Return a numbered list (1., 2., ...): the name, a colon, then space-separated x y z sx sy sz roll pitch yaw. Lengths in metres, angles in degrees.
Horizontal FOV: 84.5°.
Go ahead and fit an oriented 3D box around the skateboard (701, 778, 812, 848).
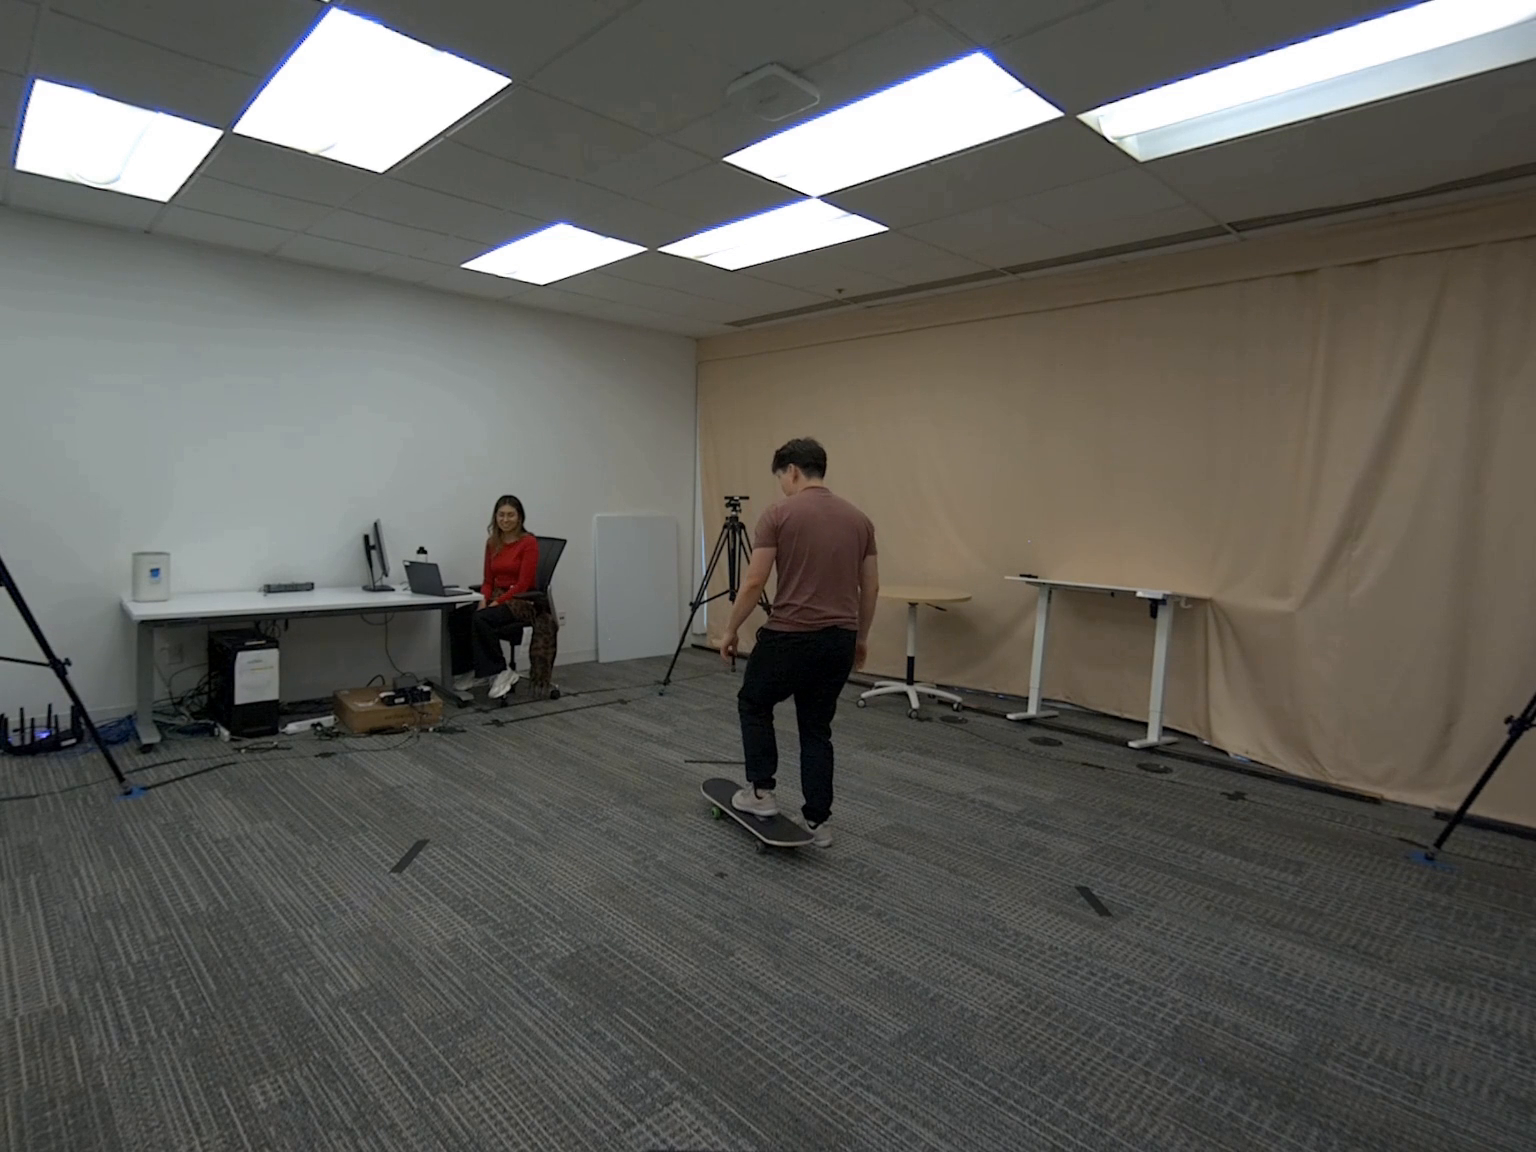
1. skateboard: -0.065 1.013 3.513 0.190 0.110 0.803 -1 5 -29
